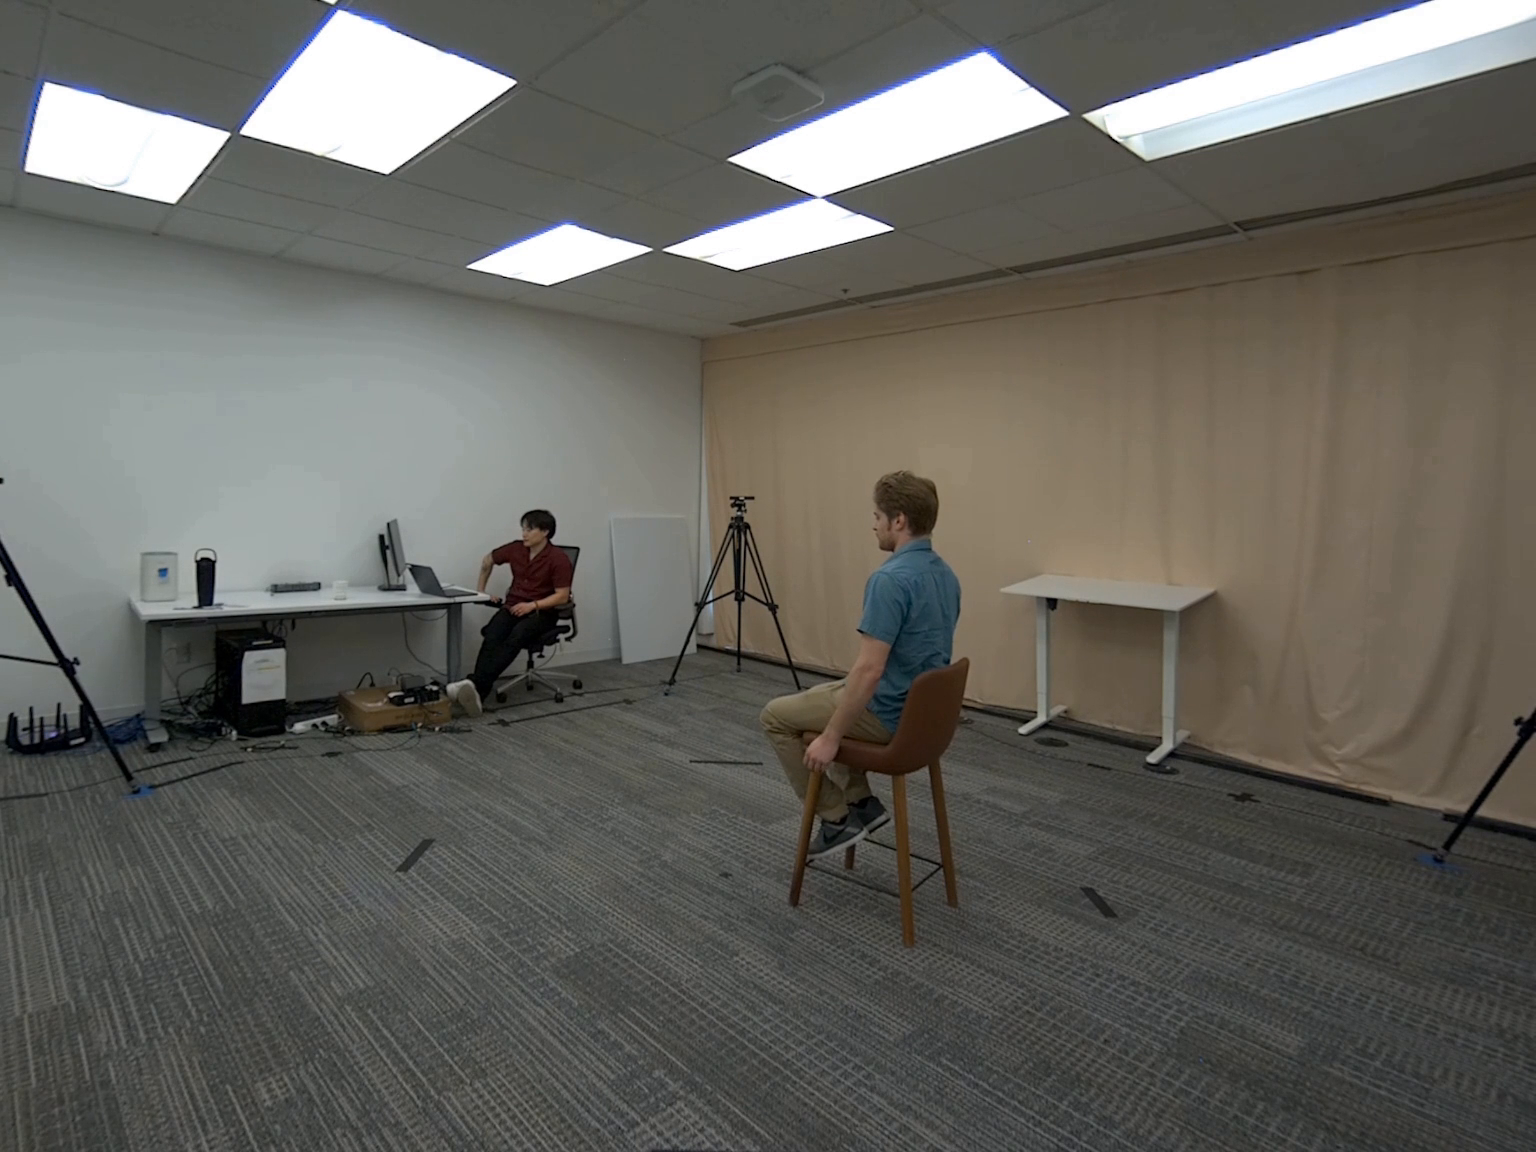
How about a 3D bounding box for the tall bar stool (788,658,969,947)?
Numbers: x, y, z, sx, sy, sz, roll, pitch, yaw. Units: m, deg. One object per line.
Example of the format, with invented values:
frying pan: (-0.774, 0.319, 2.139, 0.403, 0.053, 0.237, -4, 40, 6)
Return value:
tall bar stool: (0.380, 0.704, 2.874, 0.479, 0.886, 0.447, 7, 7, 37)
